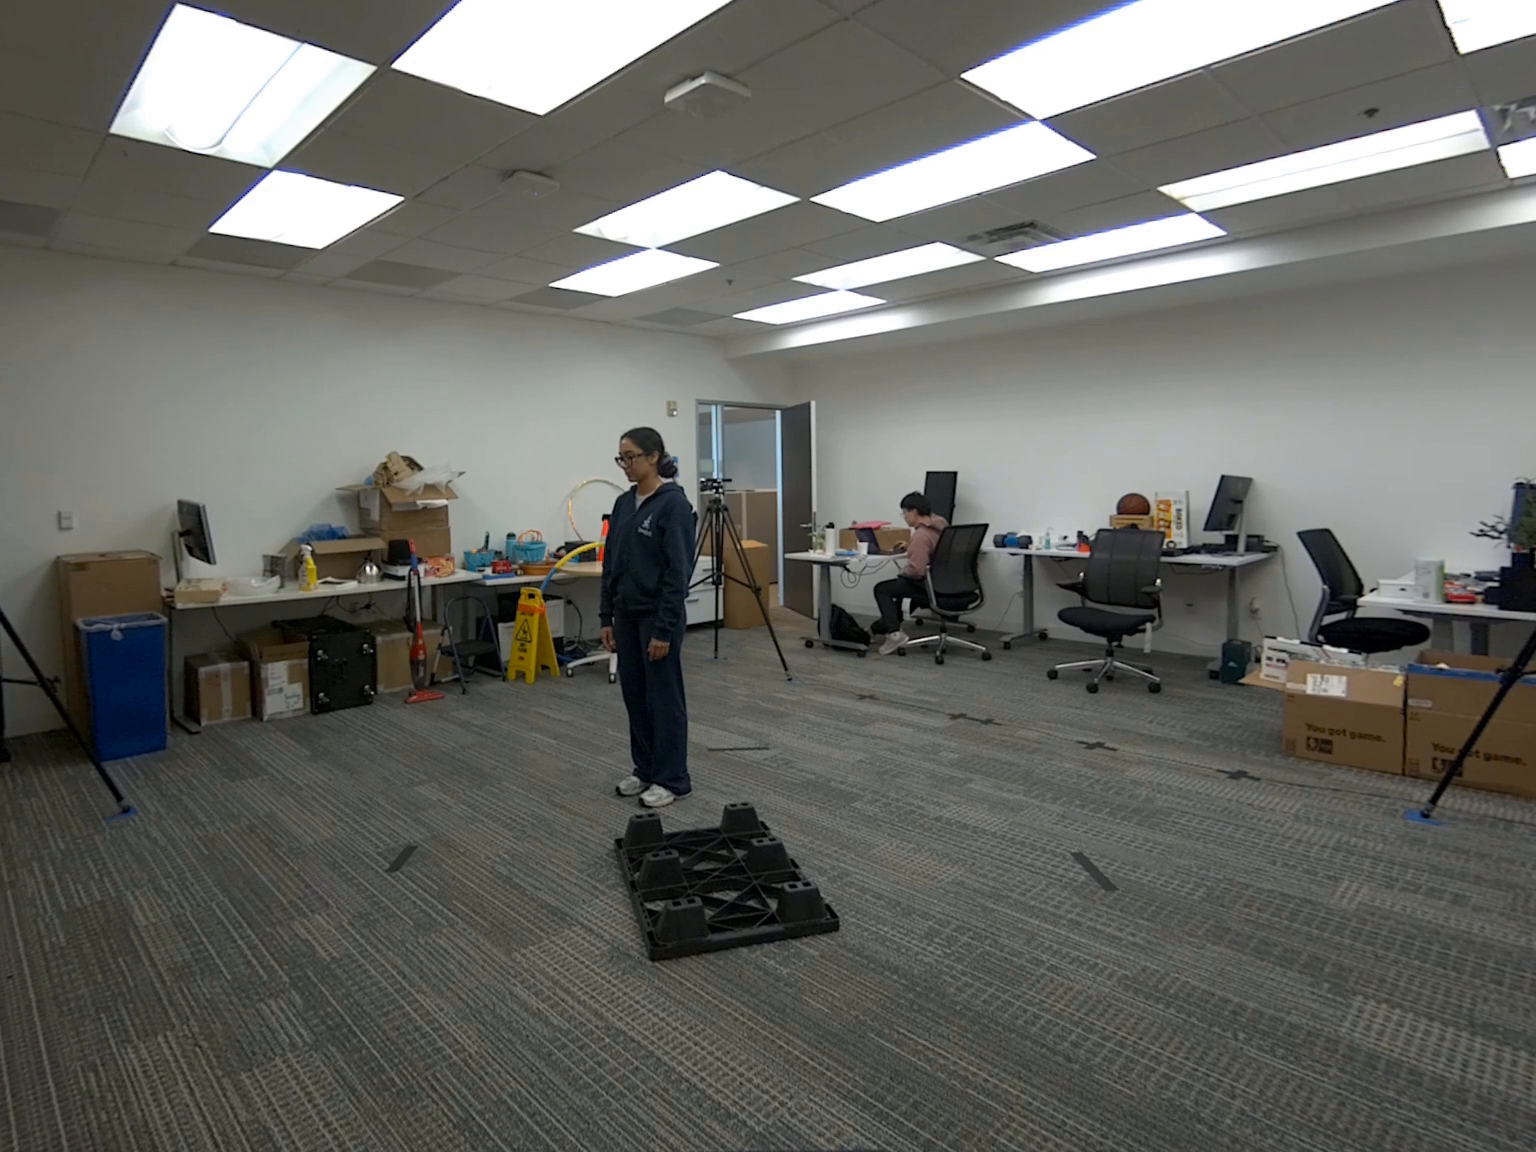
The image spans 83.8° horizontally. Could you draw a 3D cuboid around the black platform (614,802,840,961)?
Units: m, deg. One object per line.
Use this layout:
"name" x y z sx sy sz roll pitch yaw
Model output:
"black platform" -0.176 0.997 2.933 0.596 0.142 0.822 -4 7 -17
